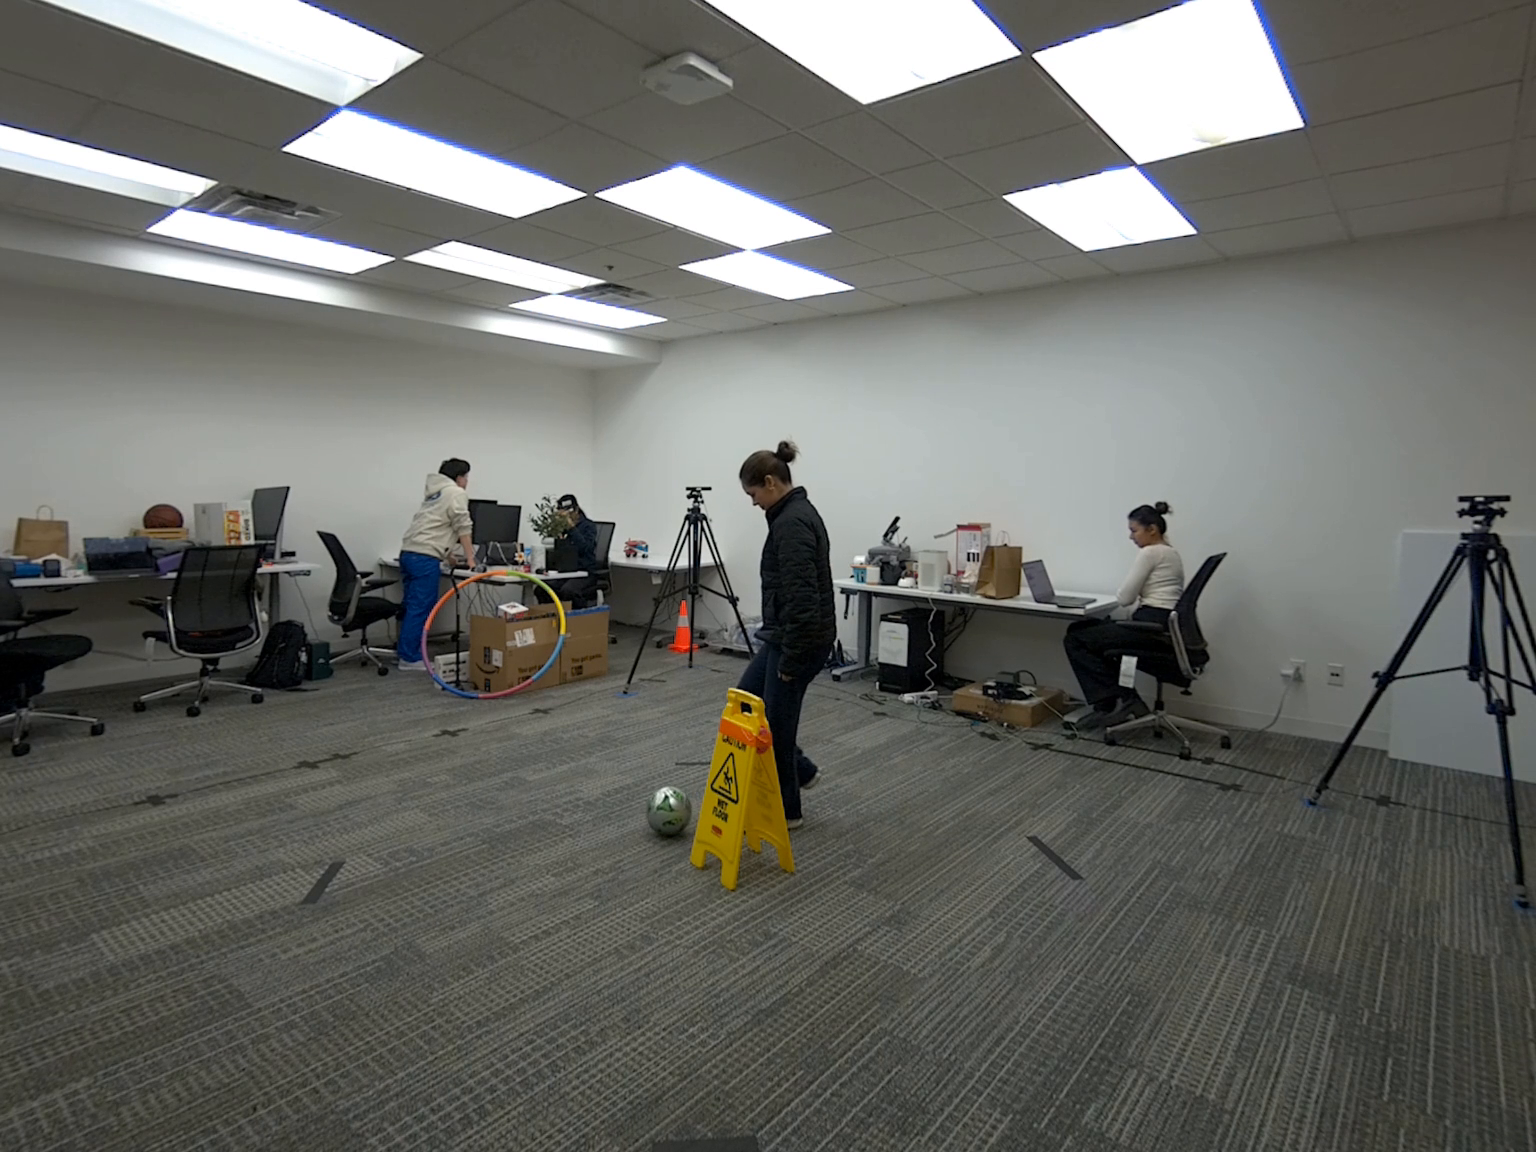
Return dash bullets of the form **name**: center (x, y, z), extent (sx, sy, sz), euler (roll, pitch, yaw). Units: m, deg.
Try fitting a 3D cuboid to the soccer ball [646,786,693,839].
- **soccer ball**: center (-0.411, 0.937, 3.416), extent (0.187, 0.187, 0.188), euler (1, 4, -2)
